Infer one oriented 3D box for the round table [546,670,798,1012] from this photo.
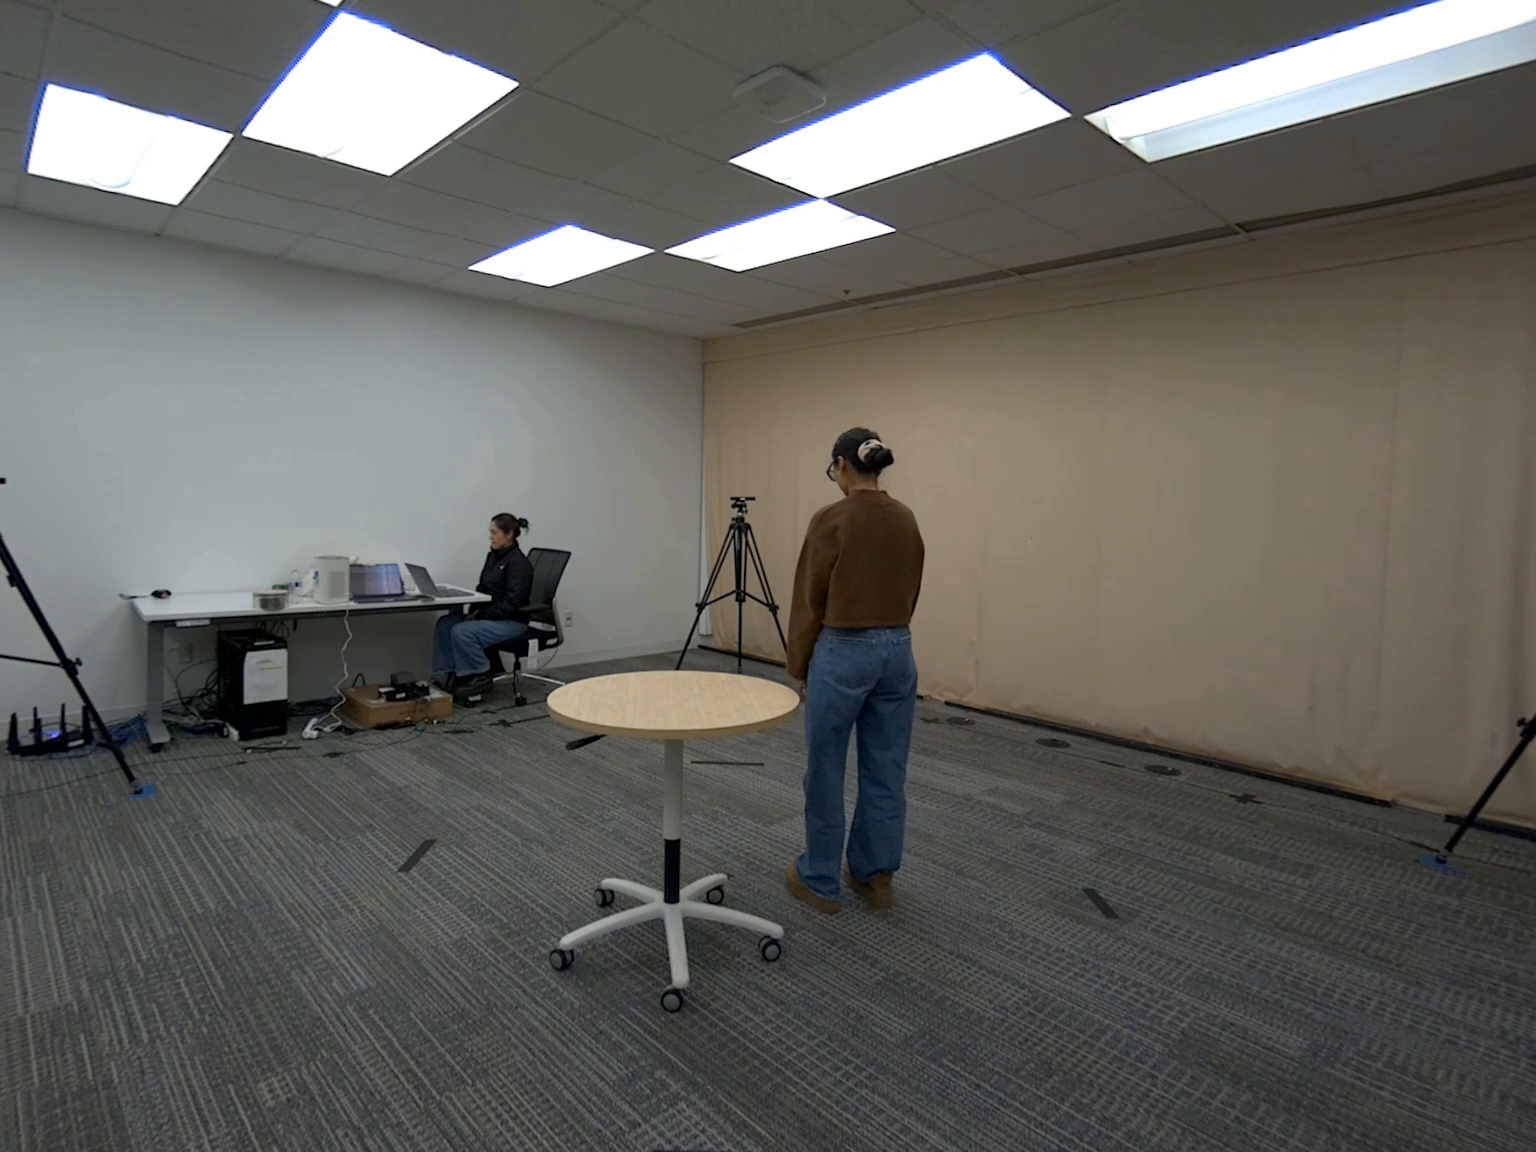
[{"bbox_3d":[-0.299,0.763,2.592,0.763,0.792,0.767,1,4,-1],"label":"round table"}]
